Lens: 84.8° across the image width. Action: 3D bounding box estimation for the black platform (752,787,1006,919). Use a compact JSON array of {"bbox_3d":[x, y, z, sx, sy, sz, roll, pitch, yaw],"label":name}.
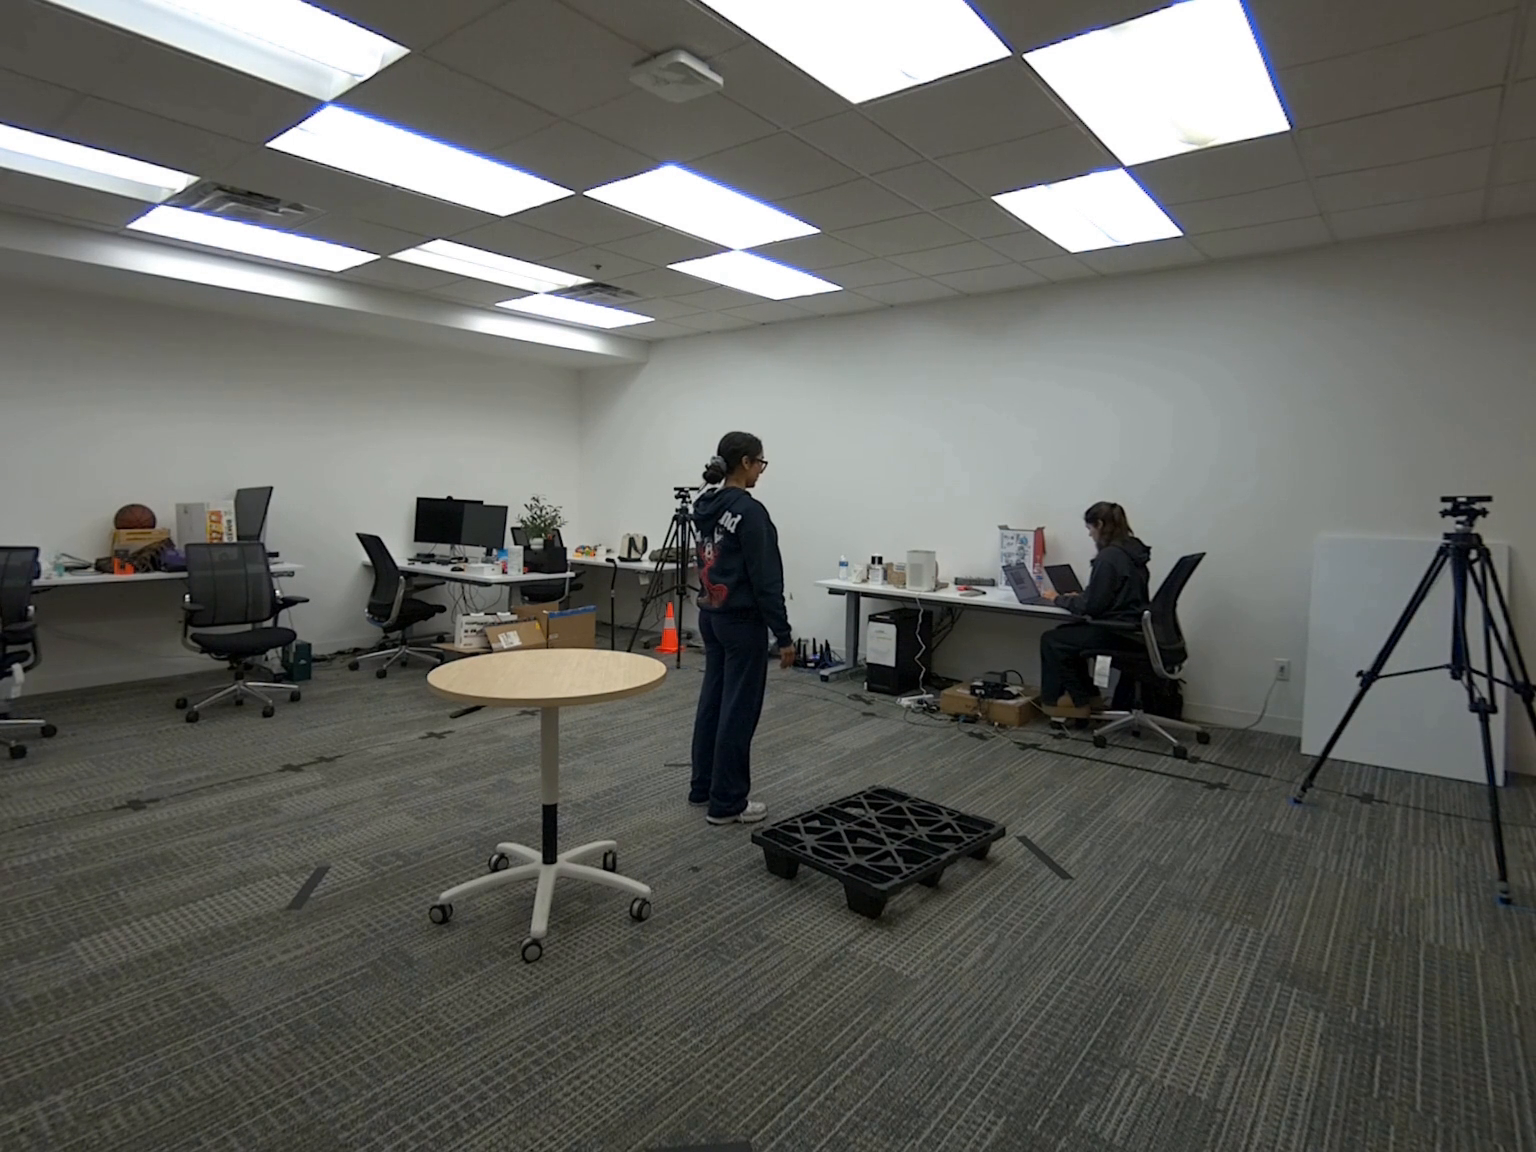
[{"bbox_3d":[0.407,1.008,3.176,0.626,0.143,0.781,6,7,45],"label":"black platform"}]
